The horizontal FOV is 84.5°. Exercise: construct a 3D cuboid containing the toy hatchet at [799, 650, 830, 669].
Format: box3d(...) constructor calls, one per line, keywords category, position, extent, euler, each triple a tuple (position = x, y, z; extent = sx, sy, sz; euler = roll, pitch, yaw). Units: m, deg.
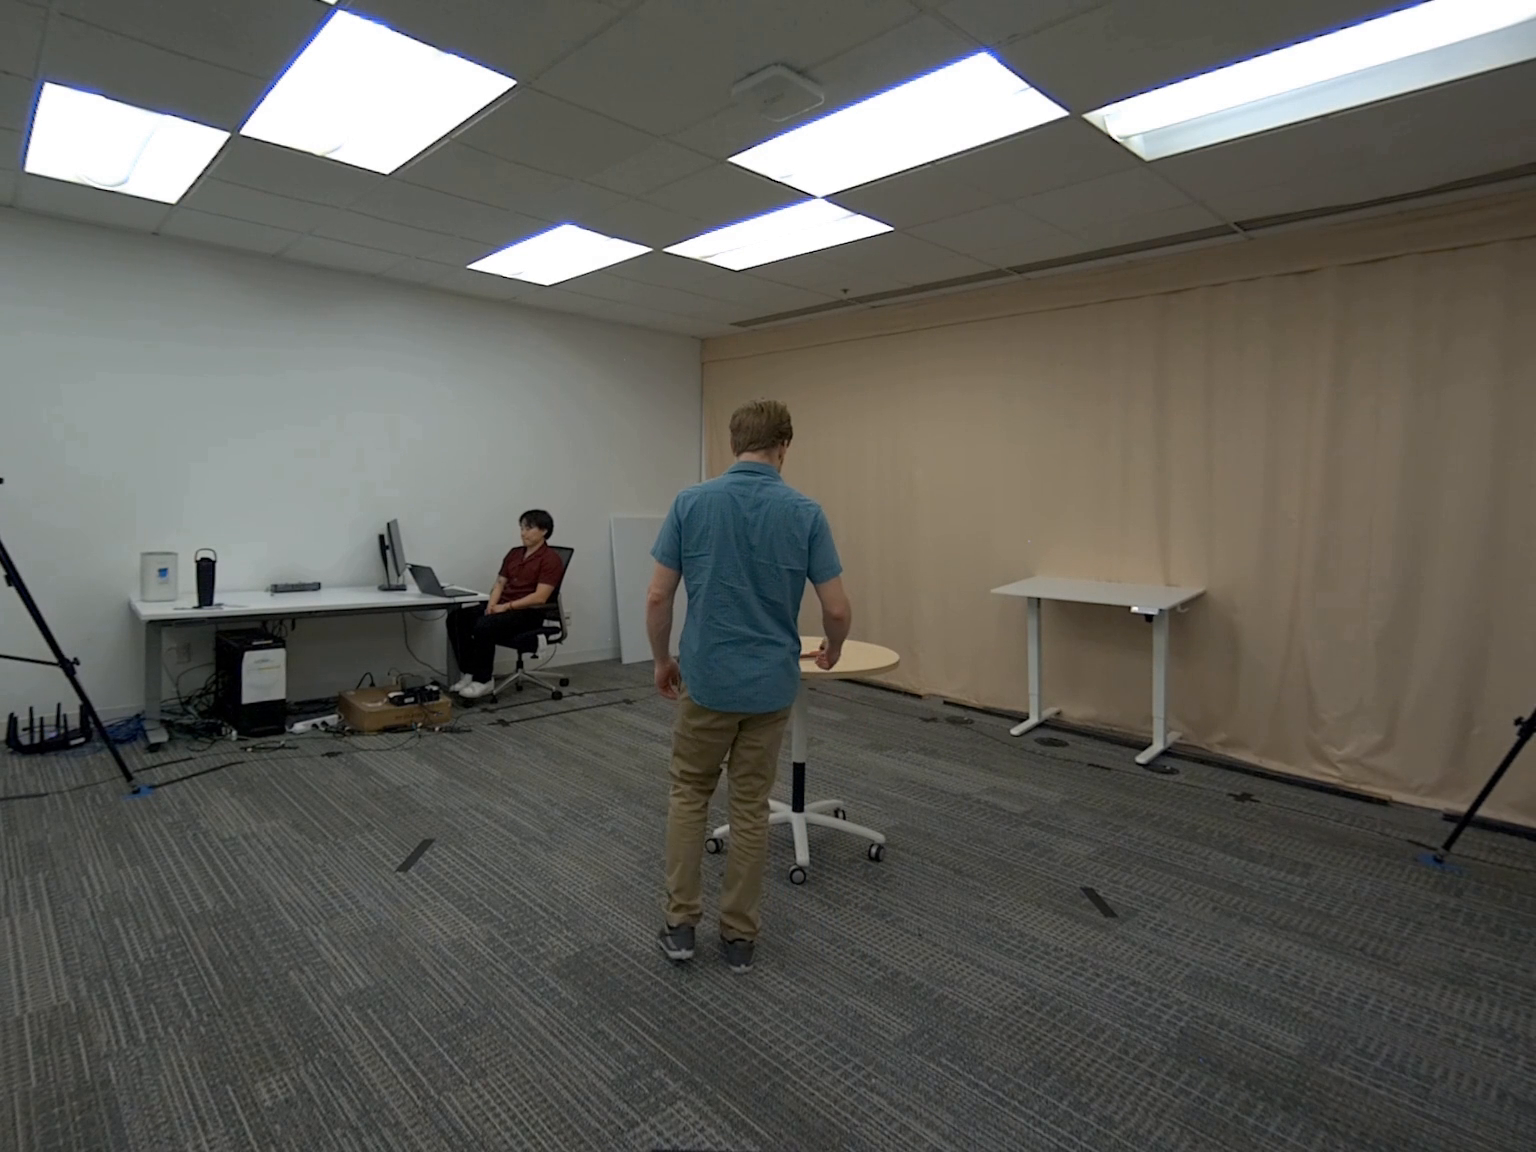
box3d(category="toy hatchet", position=(0.116, 0.306, 3.232), extent=(0.270, 0.029, 0.131), euler=(0, 6, -1))
